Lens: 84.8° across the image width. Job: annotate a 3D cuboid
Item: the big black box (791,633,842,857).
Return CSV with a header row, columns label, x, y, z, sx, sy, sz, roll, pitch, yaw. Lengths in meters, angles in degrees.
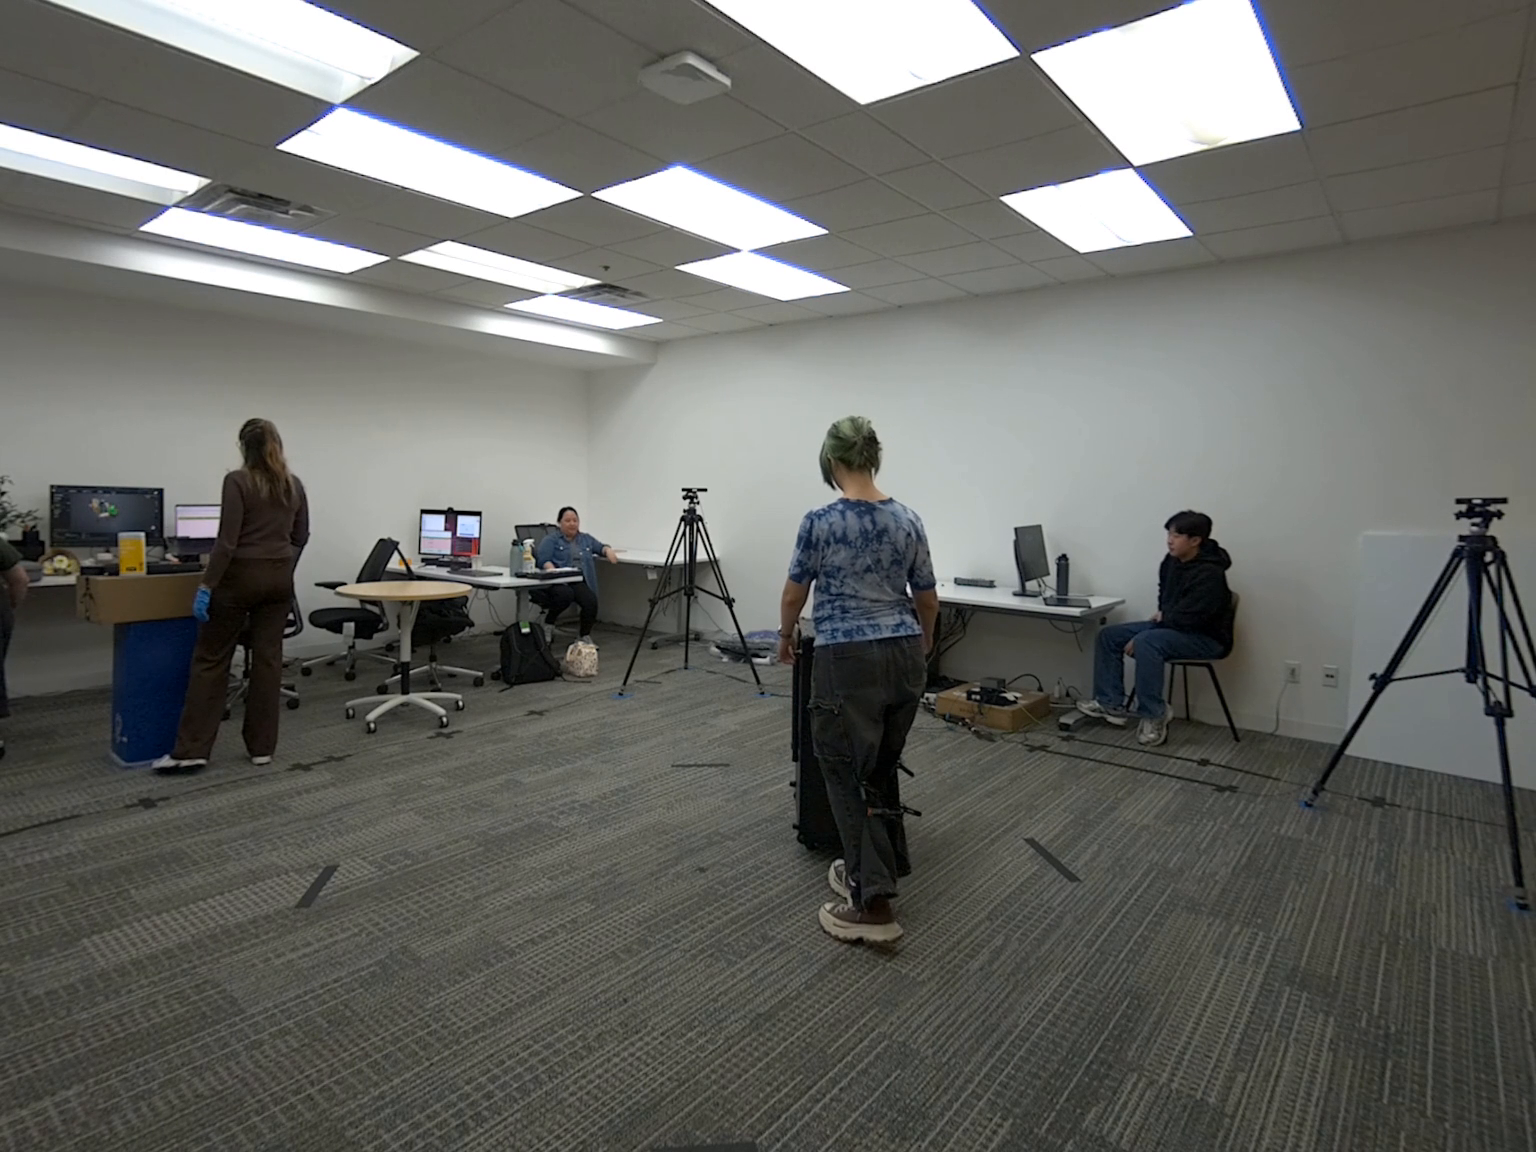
label,x,y,z,sx,sy,sz,roll,pitch,yaw
big black box,0.282,0.632,3.397,0.398,0.859,0.521,0,4,2
